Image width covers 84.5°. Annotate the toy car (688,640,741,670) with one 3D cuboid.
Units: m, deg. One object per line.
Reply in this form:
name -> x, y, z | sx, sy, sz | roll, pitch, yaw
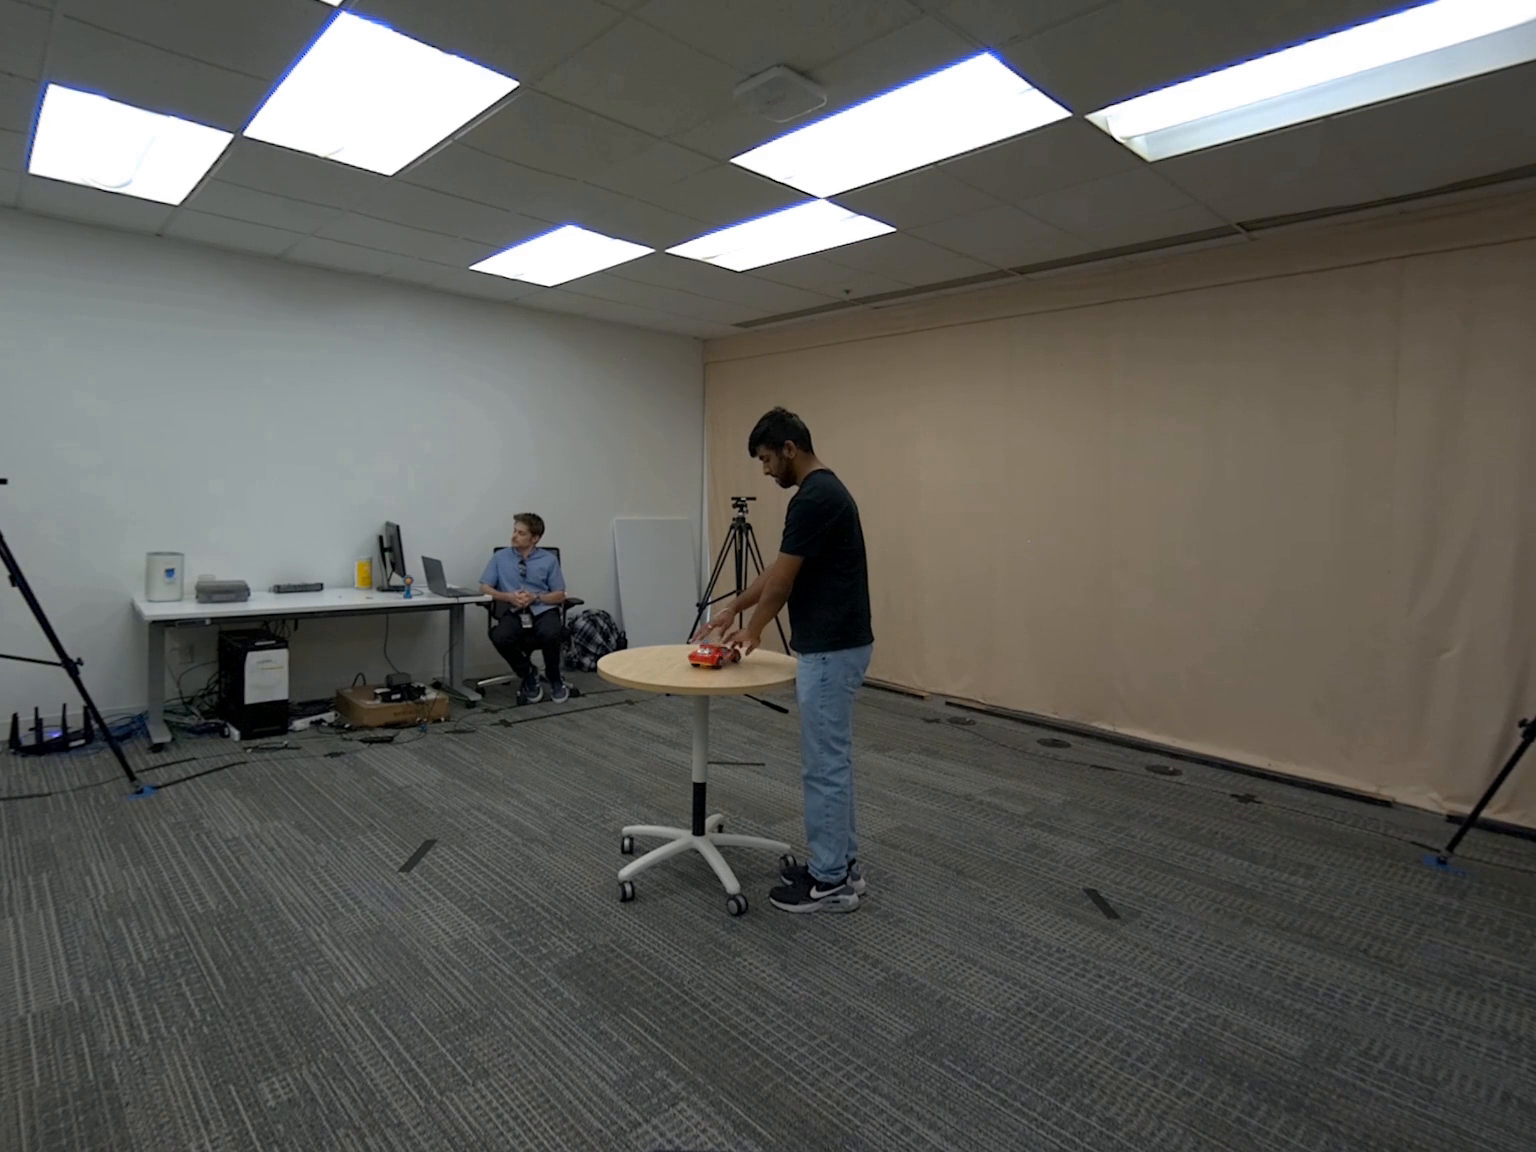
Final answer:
toy car -> -0.199, 0.294, 3.066 | 0.133, 0.083, 0.249 | 4, -5, 25
